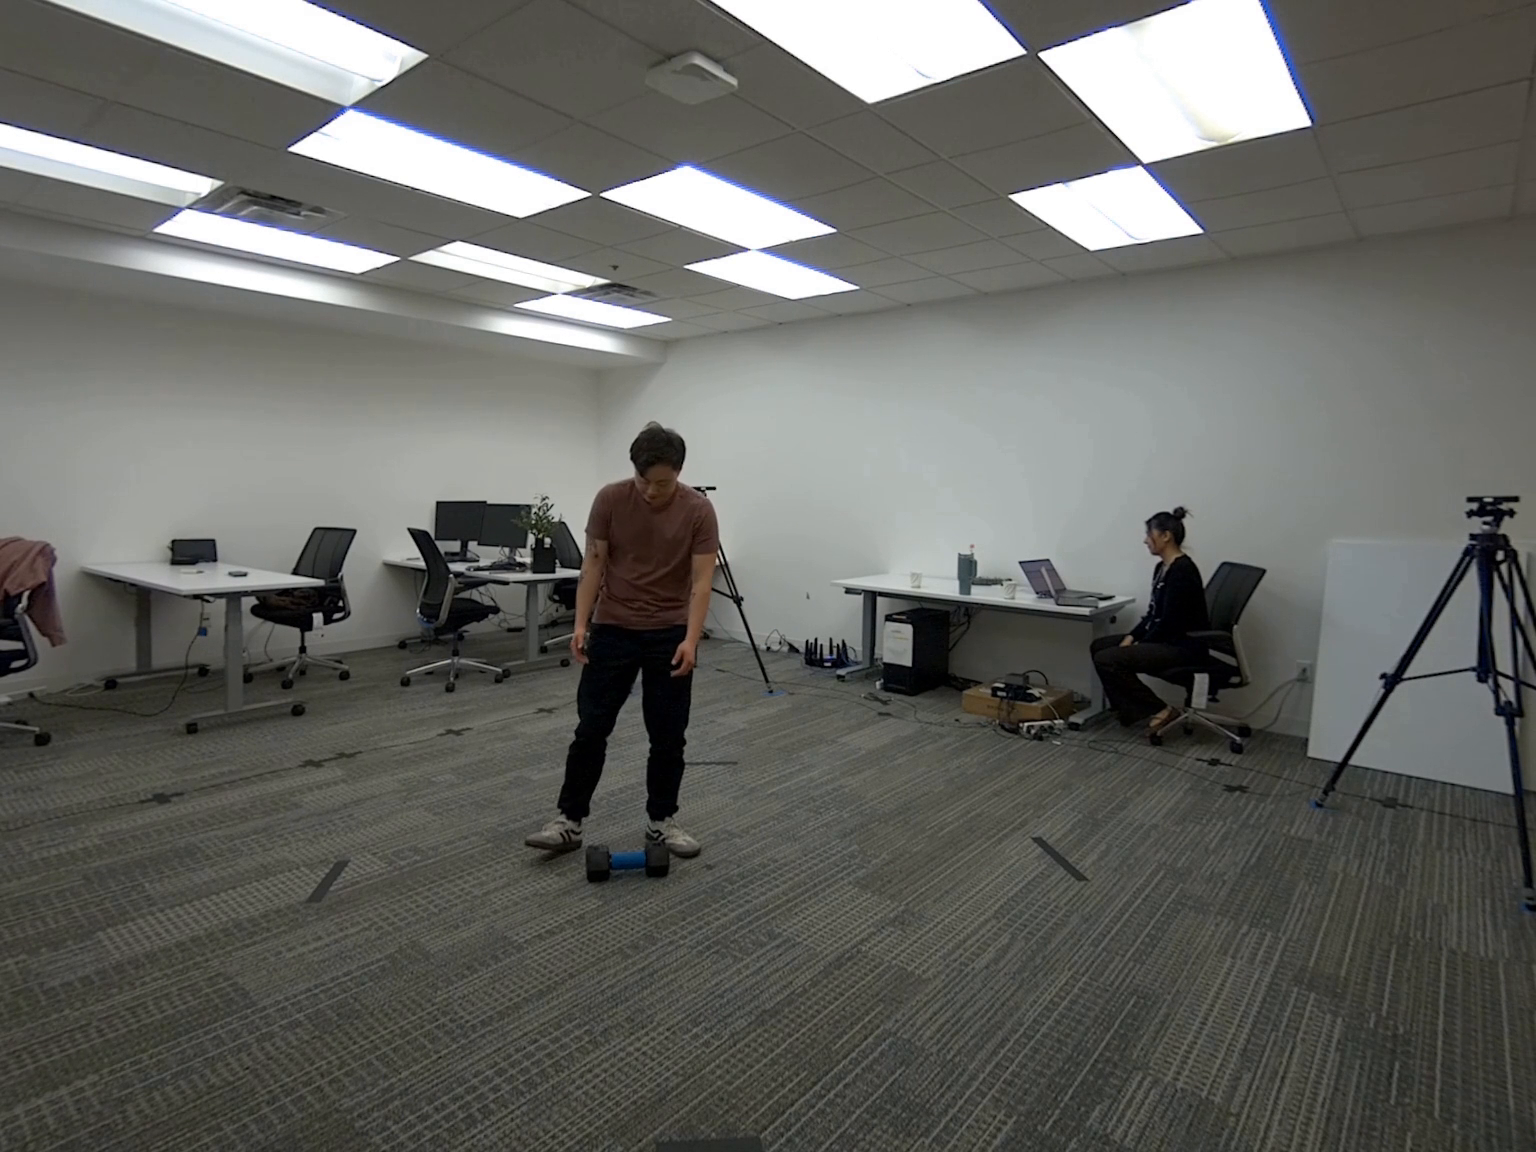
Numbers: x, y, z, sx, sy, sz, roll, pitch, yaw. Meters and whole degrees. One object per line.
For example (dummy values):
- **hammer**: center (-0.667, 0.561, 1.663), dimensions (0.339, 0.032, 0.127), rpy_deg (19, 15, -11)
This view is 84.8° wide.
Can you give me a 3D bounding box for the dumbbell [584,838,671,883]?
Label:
- **dumbbell**: center (-0.511, 1.015, 3.032), dimensions (0.290, 0.126, 0.107), rpy_deg (0, -26, -12)
